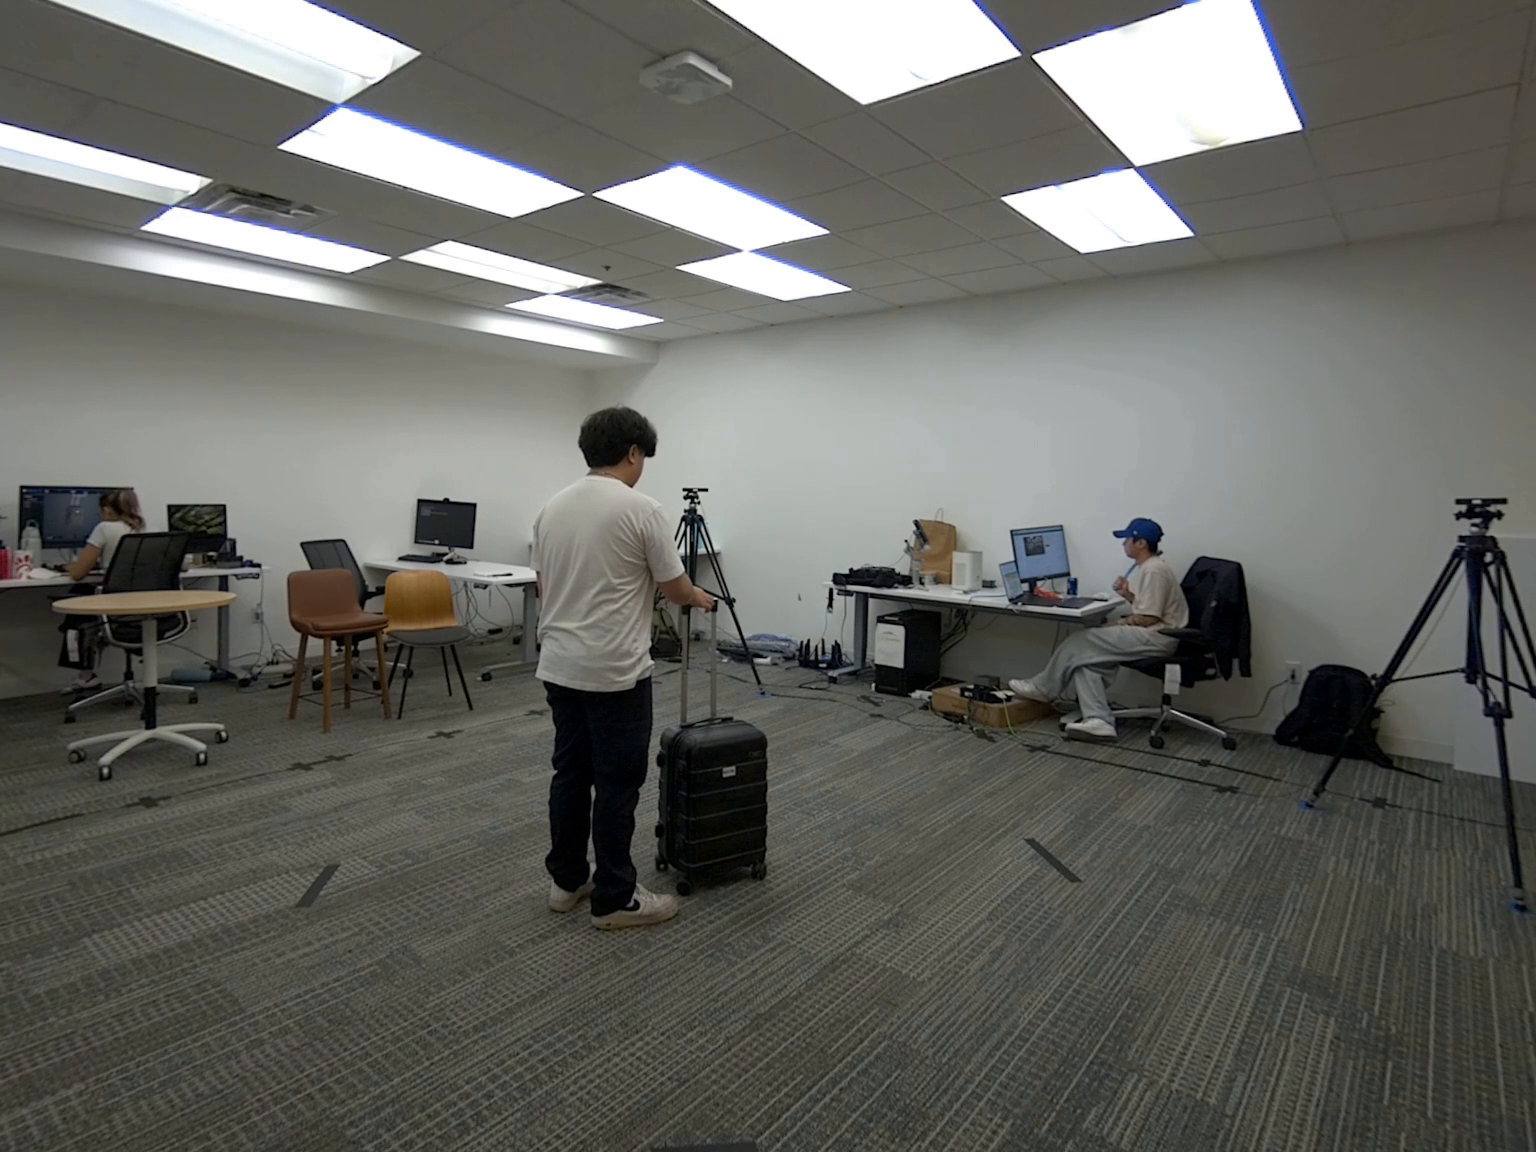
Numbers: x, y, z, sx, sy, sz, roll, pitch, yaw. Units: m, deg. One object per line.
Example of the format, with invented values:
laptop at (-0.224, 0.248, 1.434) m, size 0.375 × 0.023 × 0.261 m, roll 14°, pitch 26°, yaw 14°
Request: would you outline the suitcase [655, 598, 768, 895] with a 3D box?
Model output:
suitcase at (-0.203, 0.602, 3.057) m, size 0.374 × 0.974 × 0.265 m, roll -2°, pitch 5°, yaw -29°
